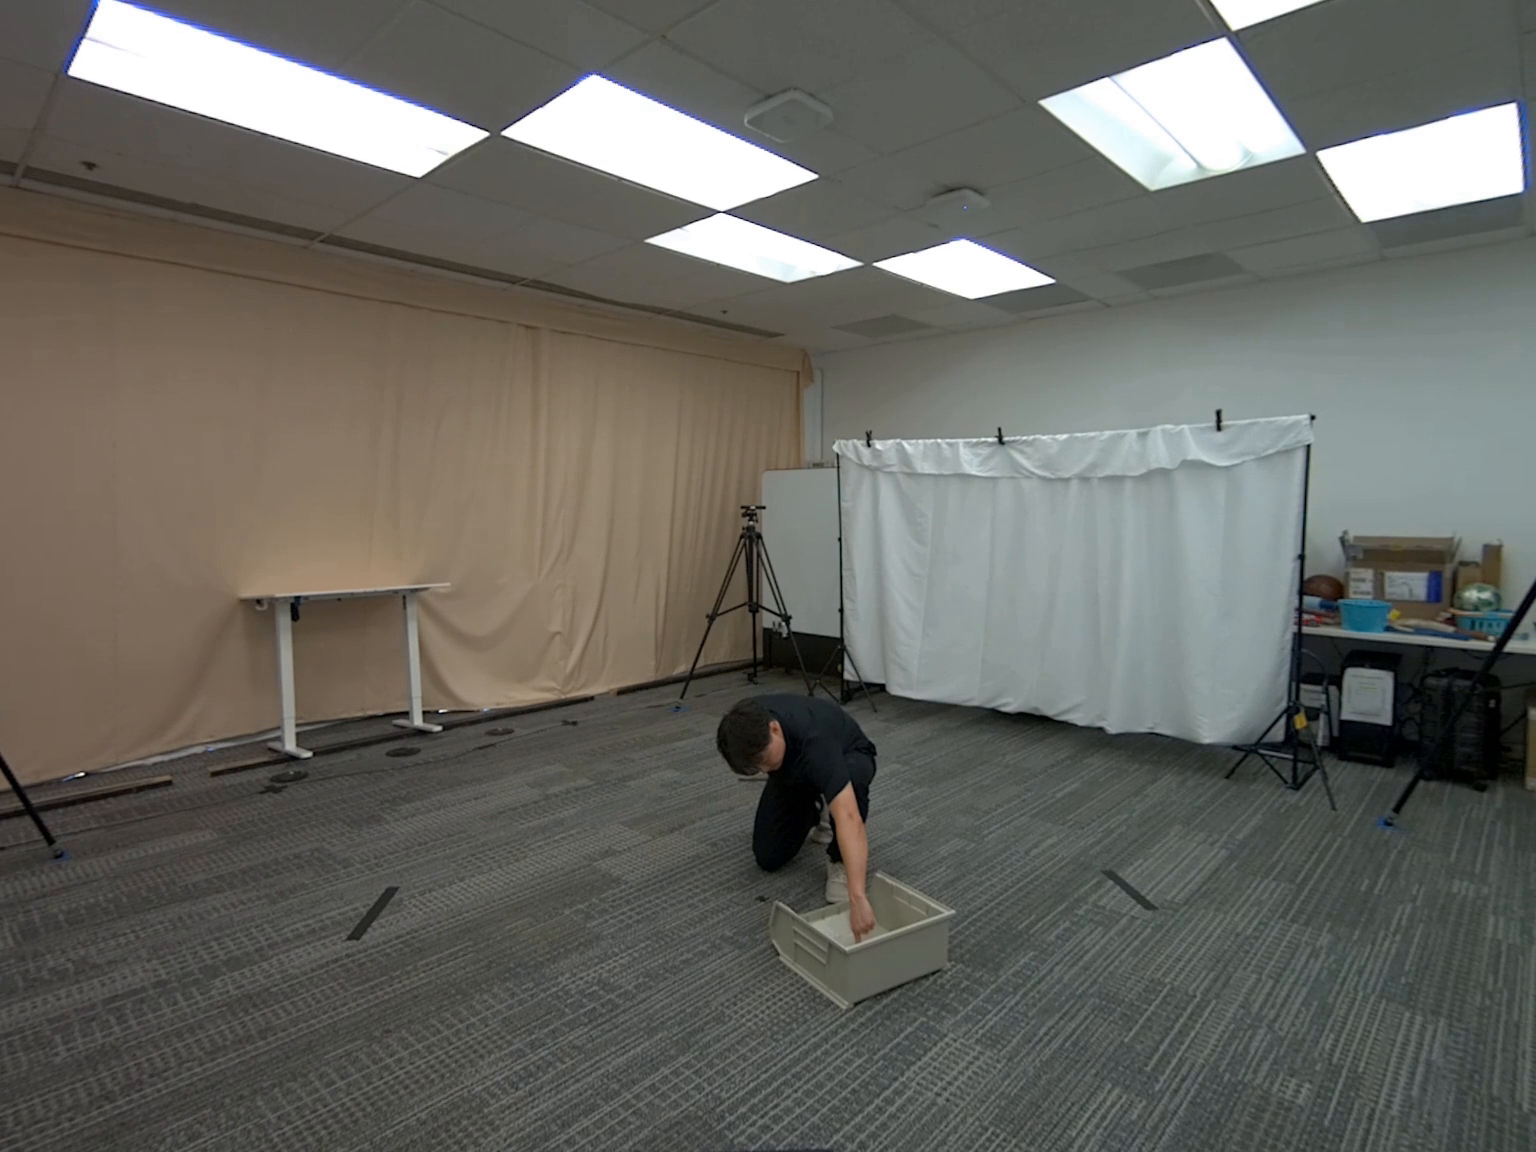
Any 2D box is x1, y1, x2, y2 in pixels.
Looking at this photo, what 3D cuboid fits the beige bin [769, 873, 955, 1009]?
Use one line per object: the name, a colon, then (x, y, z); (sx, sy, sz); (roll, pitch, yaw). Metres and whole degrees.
beige bin: (0.279, 1.082, 2.574); (0.410, 0.188, 0.389); (-2, 5, -33)
